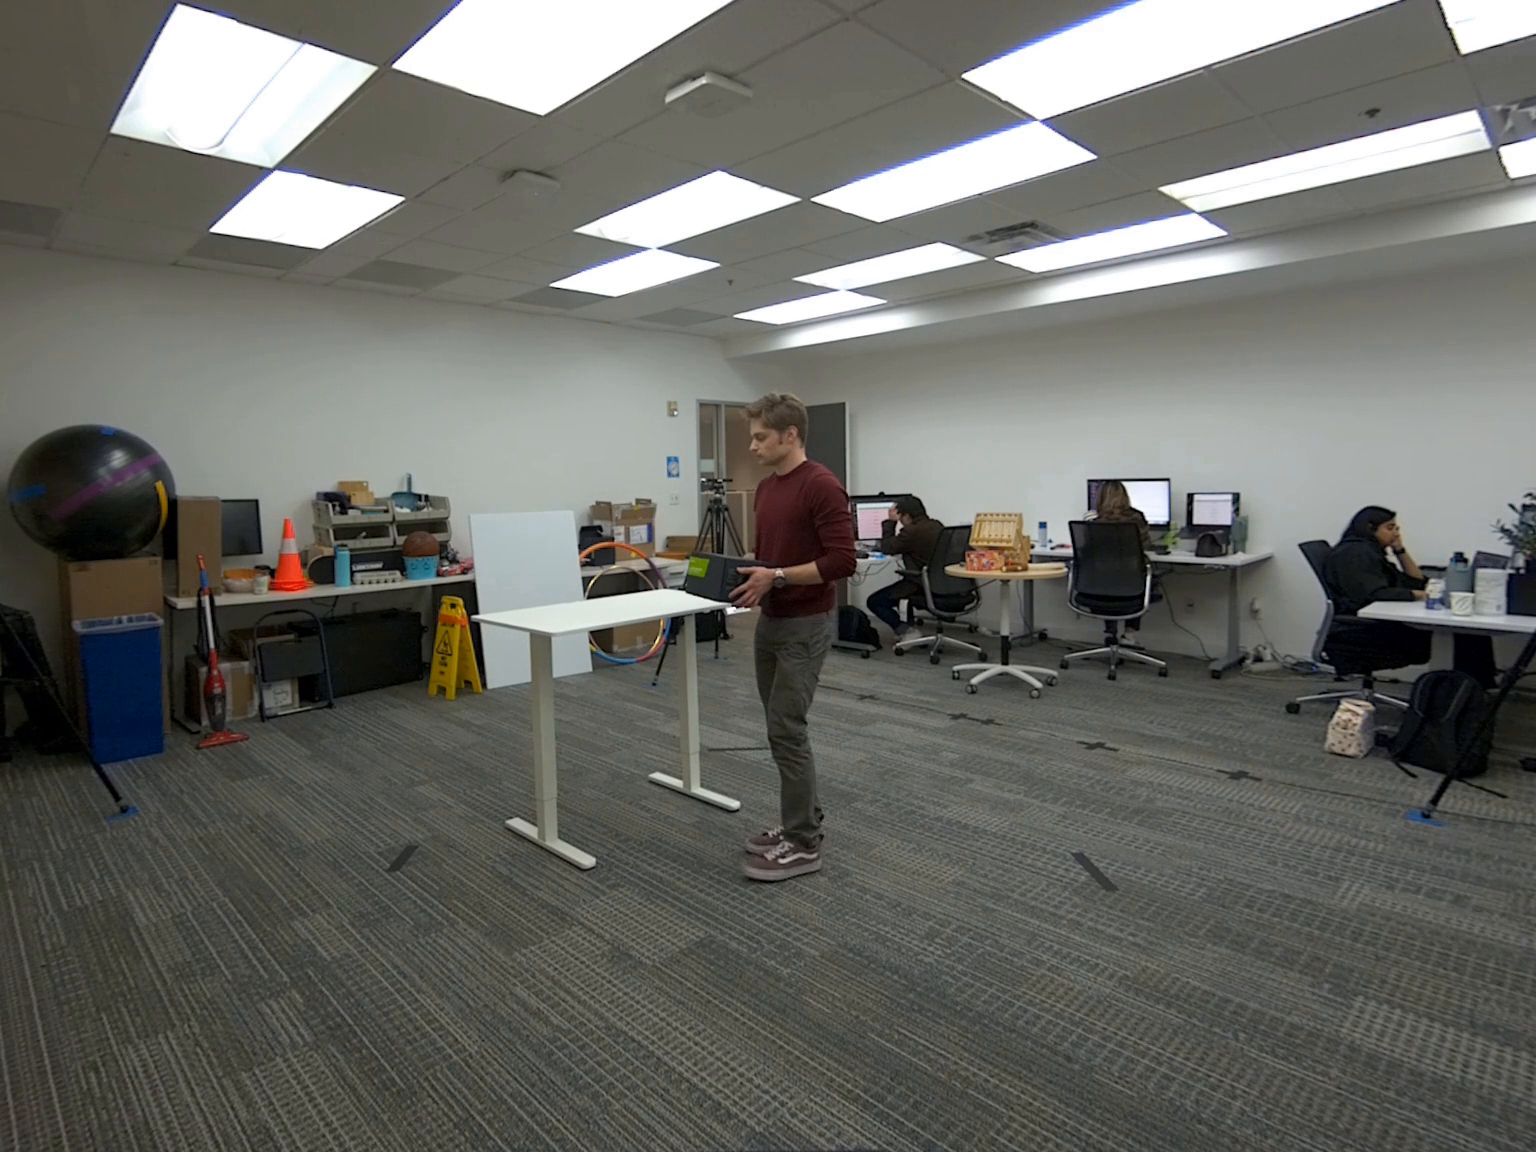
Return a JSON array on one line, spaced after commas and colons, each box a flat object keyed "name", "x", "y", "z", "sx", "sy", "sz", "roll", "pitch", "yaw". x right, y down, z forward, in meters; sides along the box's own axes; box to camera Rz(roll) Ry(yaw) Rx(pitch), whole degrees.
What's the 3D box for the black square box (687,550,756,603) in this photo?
[{"name": "black square box", "x": -0.128, "y": 0.002, "z": 3.037, "sx": 0.211, "sy": 0.156, "sz": 0.235, "roll": 6, "pitch": 2, "yaw": -35}]
